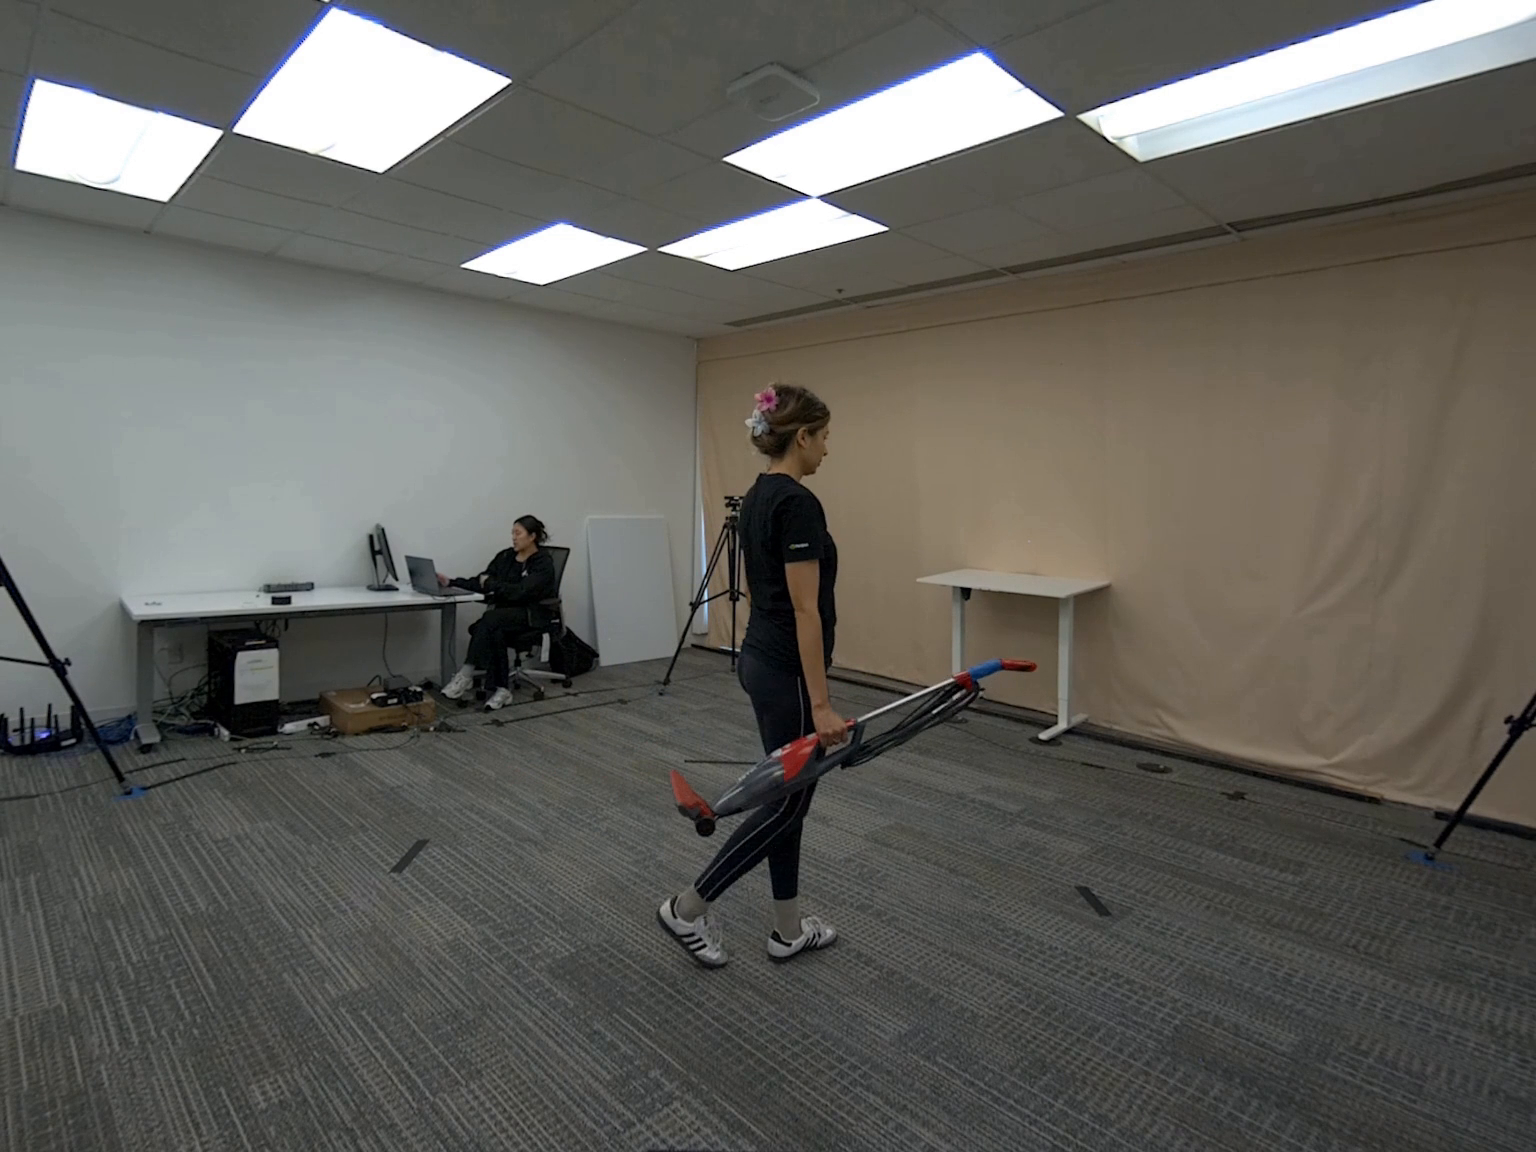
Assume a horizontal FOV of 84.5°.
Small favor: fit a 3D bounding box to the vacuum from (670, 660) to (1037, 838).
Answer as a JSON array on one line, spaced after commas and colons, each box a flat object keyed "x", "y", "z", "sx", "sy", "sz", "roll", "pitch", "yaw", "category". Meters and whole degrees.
[{"x": 0.266, "y": 0.452, "z": 2.282, "sx": 1.046, "sy": 0.142, "sz": 0.256, "roll": -21, "pitch": 12, "yaw": -6, "category": "vacuum"}]
